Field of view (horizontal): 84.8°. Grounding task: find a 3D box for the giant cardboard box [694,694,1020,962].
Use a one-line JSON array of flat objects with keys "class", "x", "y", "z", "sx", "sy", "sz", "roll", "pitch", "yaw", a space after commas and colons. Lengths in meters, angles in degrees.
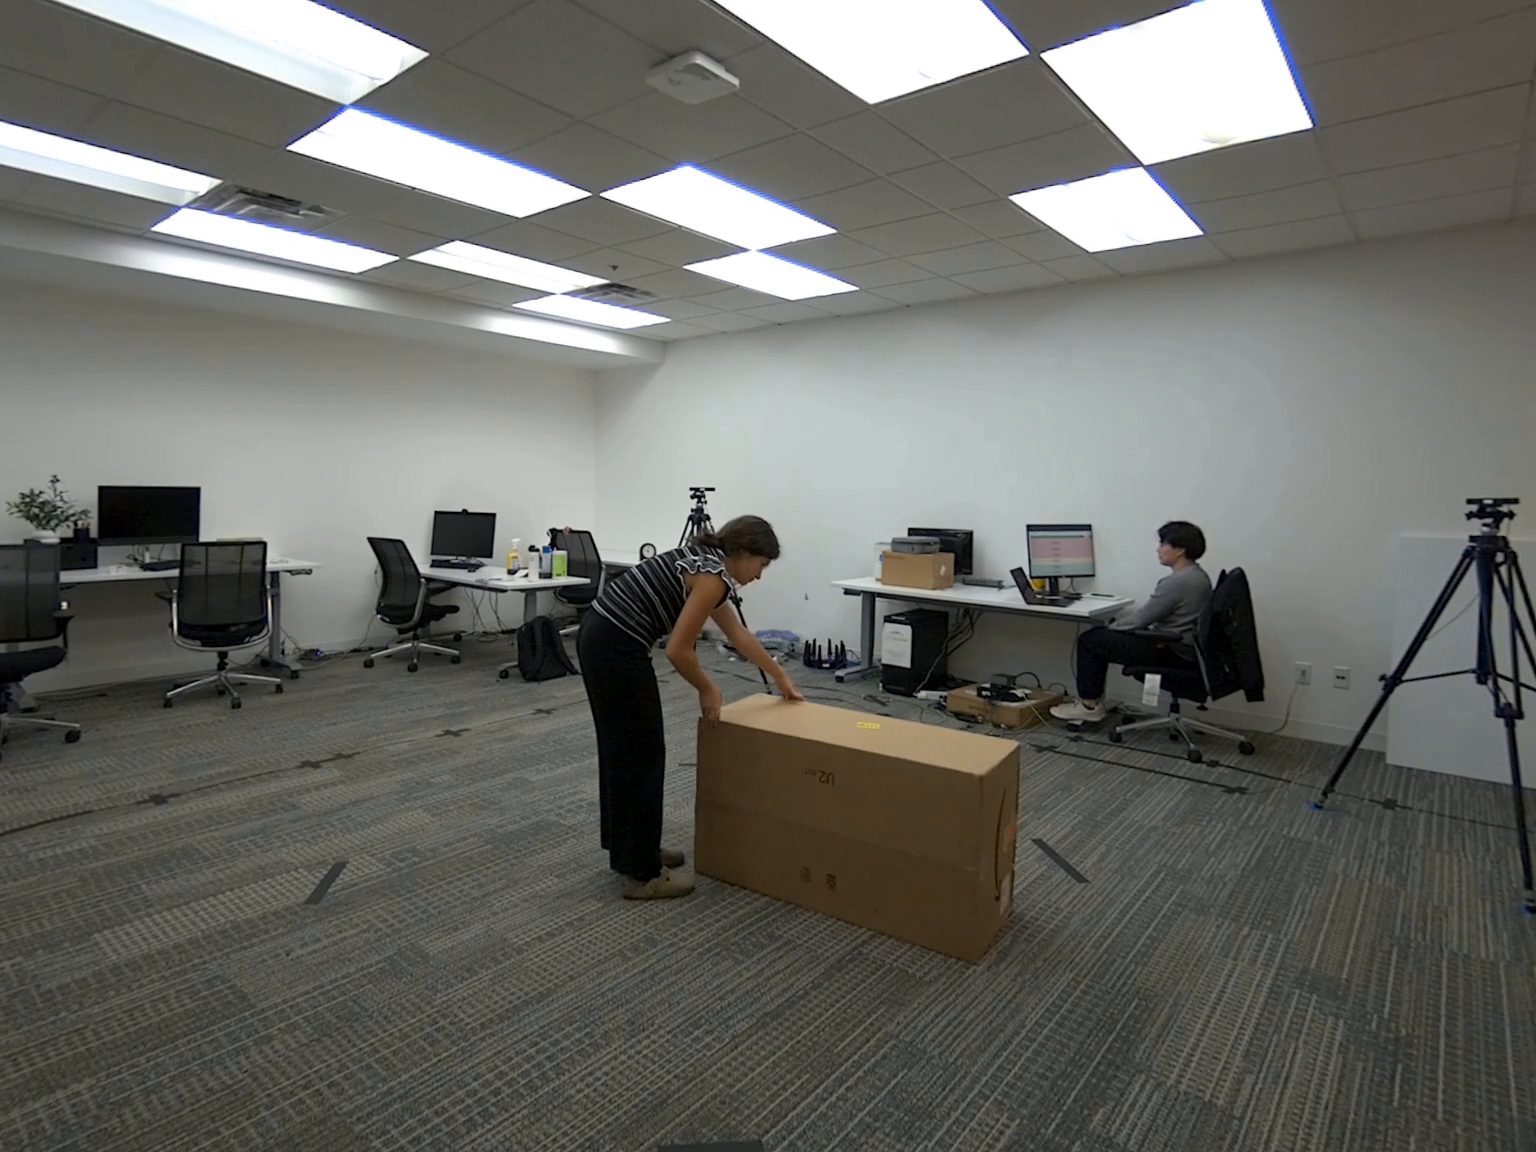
[{"class": "giant cardboard box", "x": 0.280, "y": 0.802, "z": 2.951, "sx": 1.058, "sy": 0.575, "sz": 0.415, "roll": 5, "pitch": 5, "yaw": 33}]
